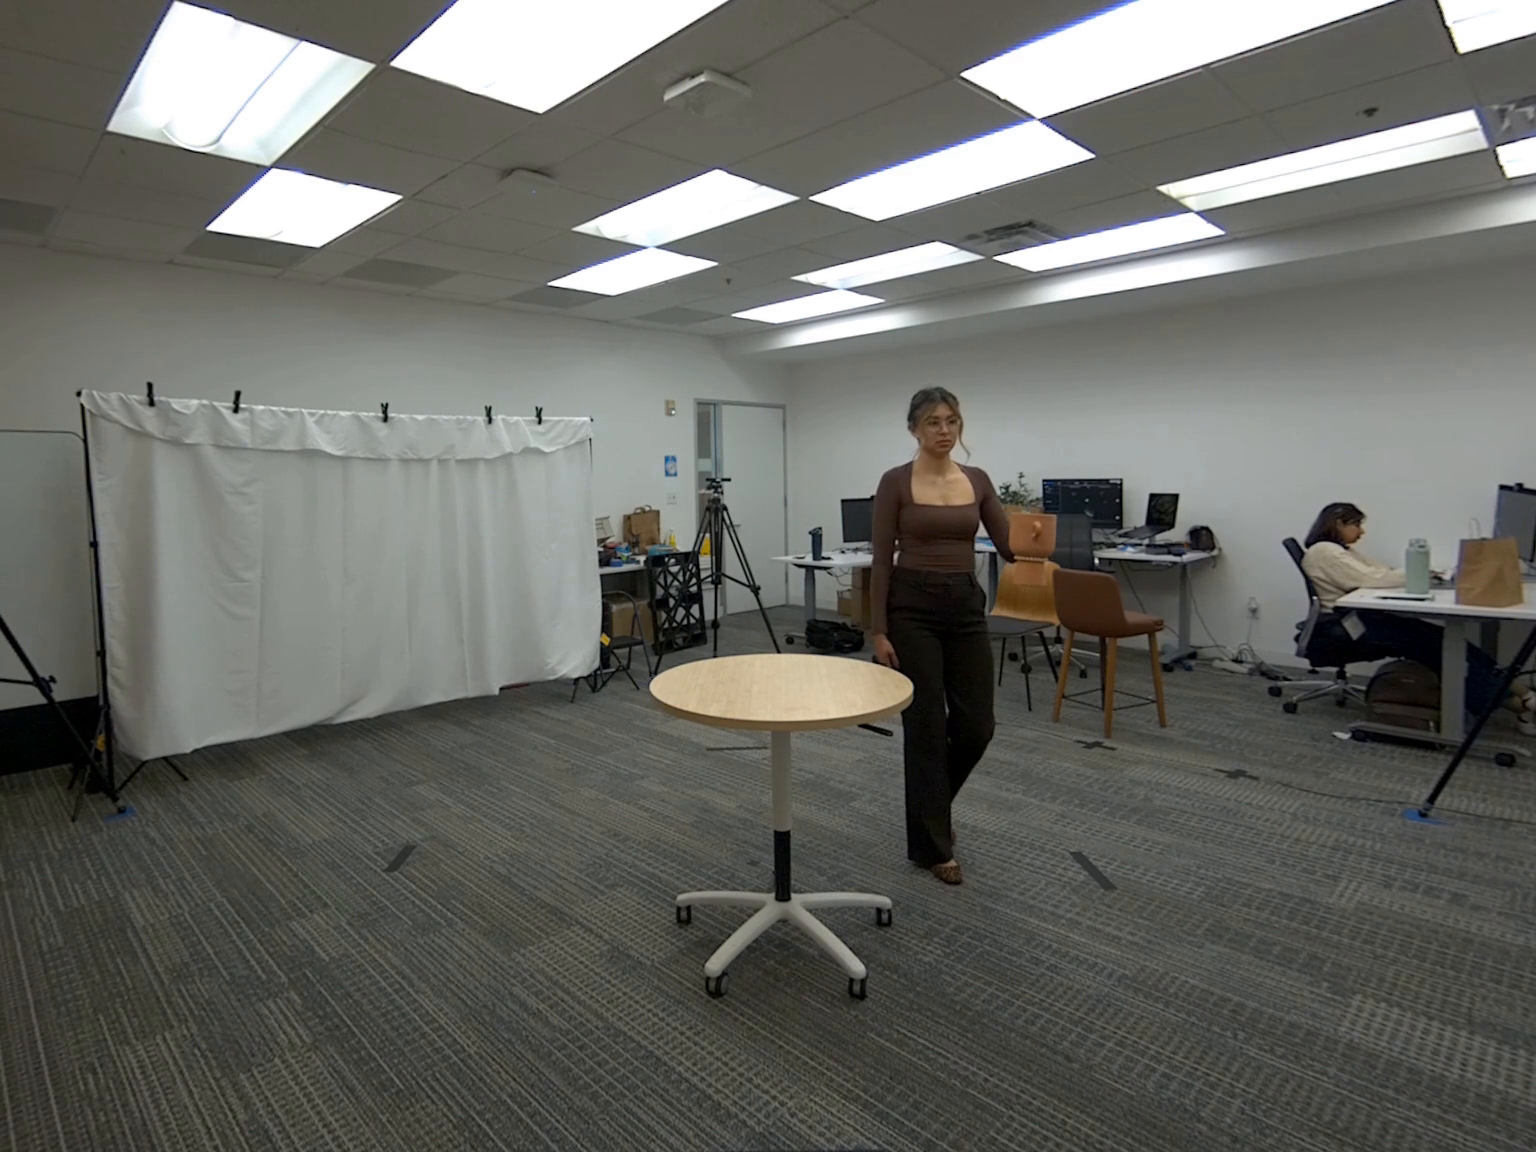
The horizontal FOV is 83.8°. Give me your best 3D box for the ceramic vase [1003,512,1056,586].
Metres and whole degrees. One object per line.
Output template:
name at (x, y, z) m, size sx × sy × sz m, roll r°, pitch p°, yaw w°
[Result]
ceramic vase at (0.824, -0.085, 2.631) m, size 0.155 × 0.218 × 0.139 m, roll -6°, pitch 10°, yaw -42°
